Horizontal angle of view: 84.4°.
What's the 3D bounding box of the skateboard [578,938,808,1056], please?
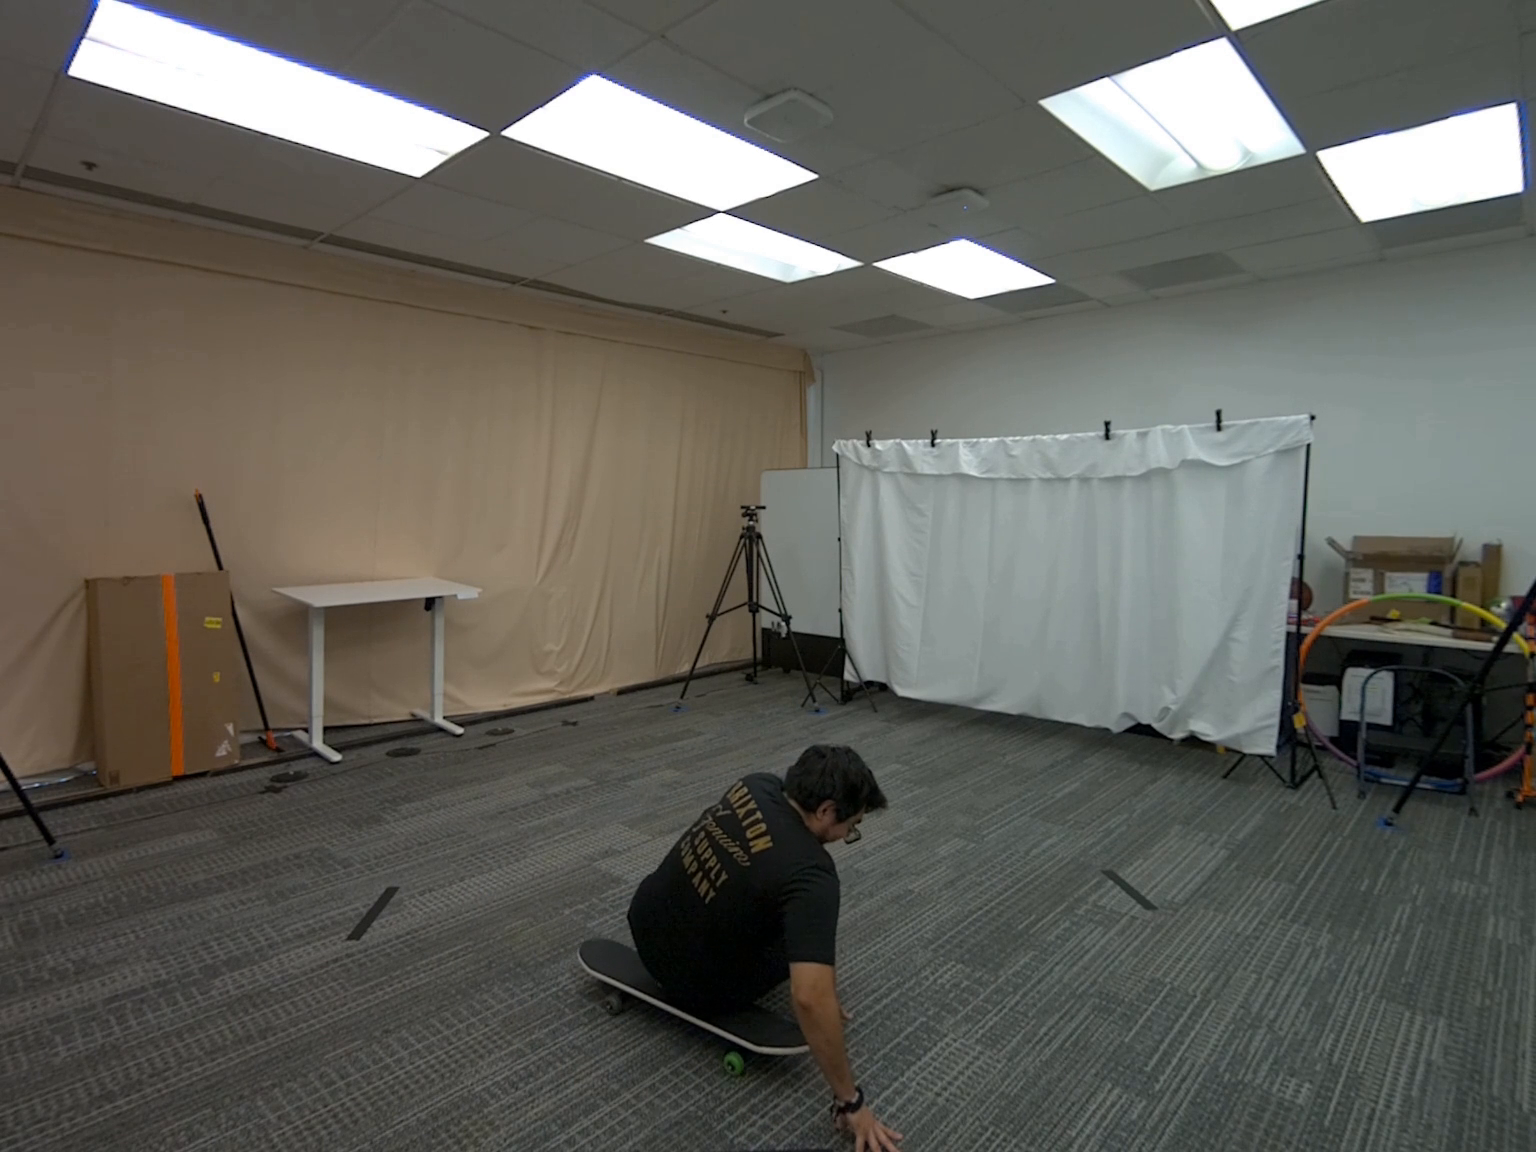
[{"bbox_3d":[-0.200,1.147,2.252,0.810,0.110,0.187,4,-3,35],"label":"skateboard"}]
